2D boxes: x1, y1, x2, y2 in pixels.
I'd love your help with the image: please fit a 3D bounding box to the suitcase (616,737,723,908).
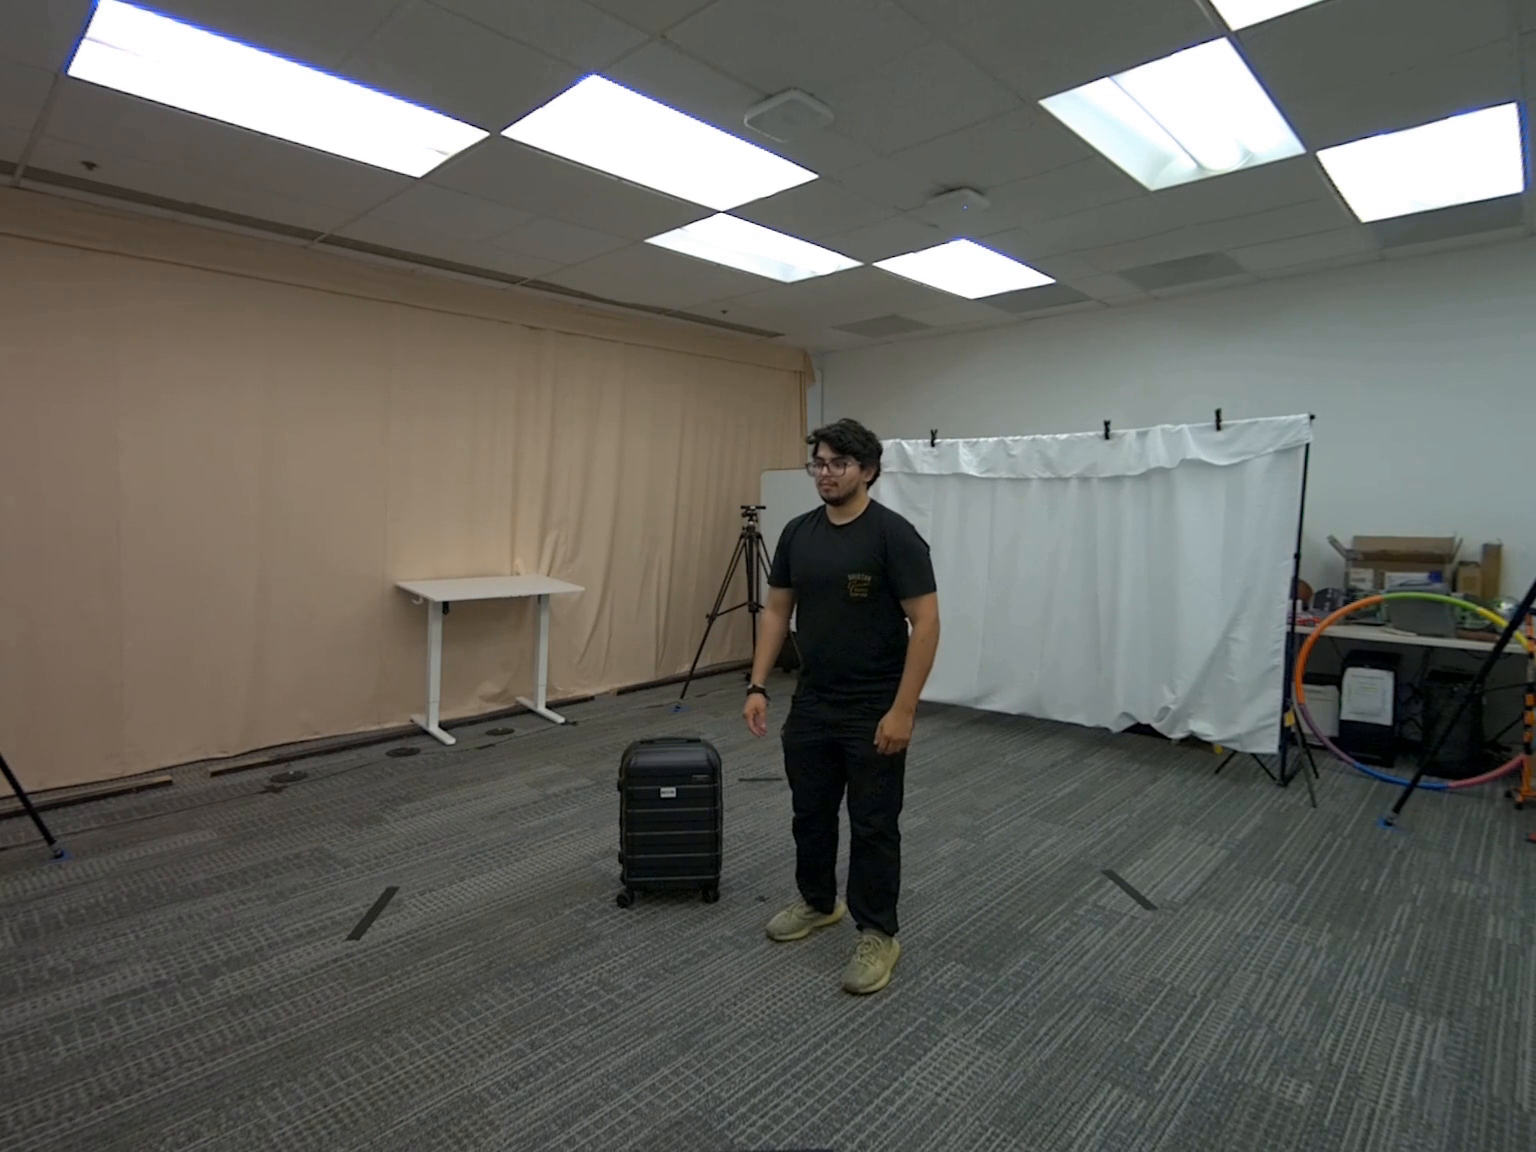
[{"bbox_3d":[-0.348,0.865,3.028,0.374,0.548,0.250,0,3,-5],"label":"suitcase"}]
